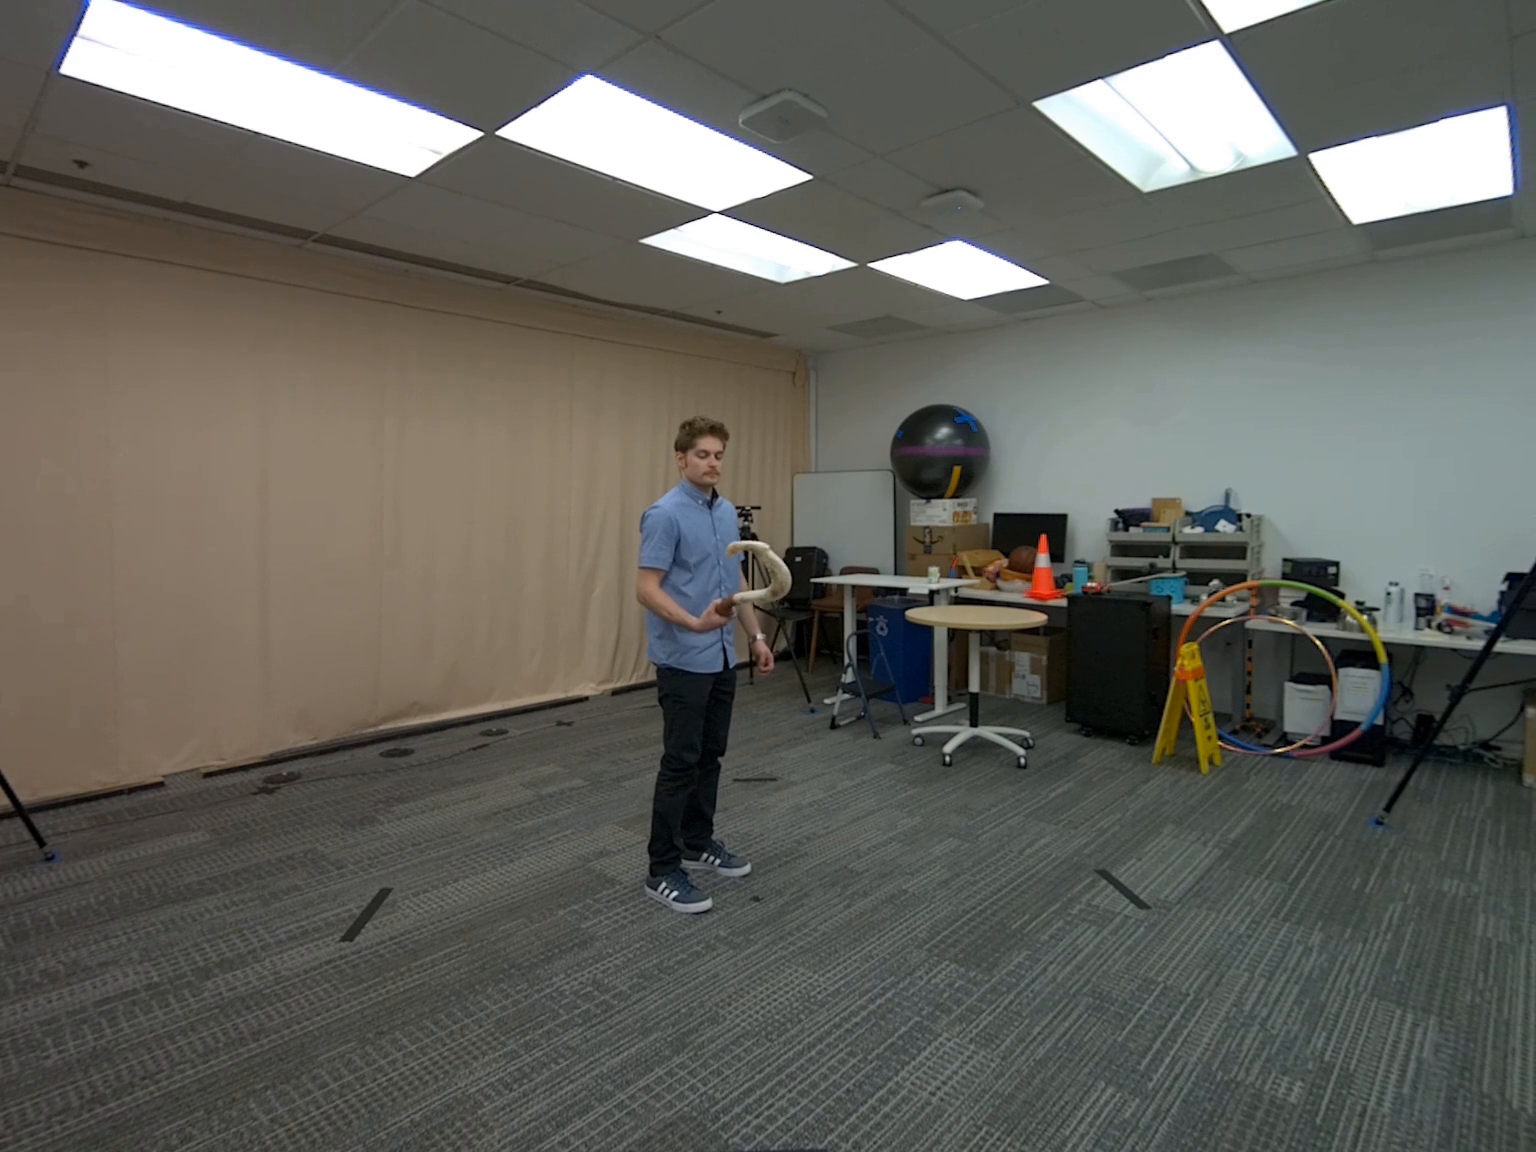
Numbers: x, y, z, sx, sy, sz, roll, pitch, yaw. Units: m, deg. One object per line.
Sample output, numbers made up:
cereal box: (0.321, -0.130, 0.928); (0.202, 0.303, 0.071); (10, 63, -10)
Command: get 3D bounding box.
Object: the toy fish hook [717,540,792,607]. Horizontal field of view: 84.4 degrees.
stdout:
toy fish hook: (-0.094, 0.032, 2.682); (0.047, 0.224, 0.515); (-35, 3, -37)
